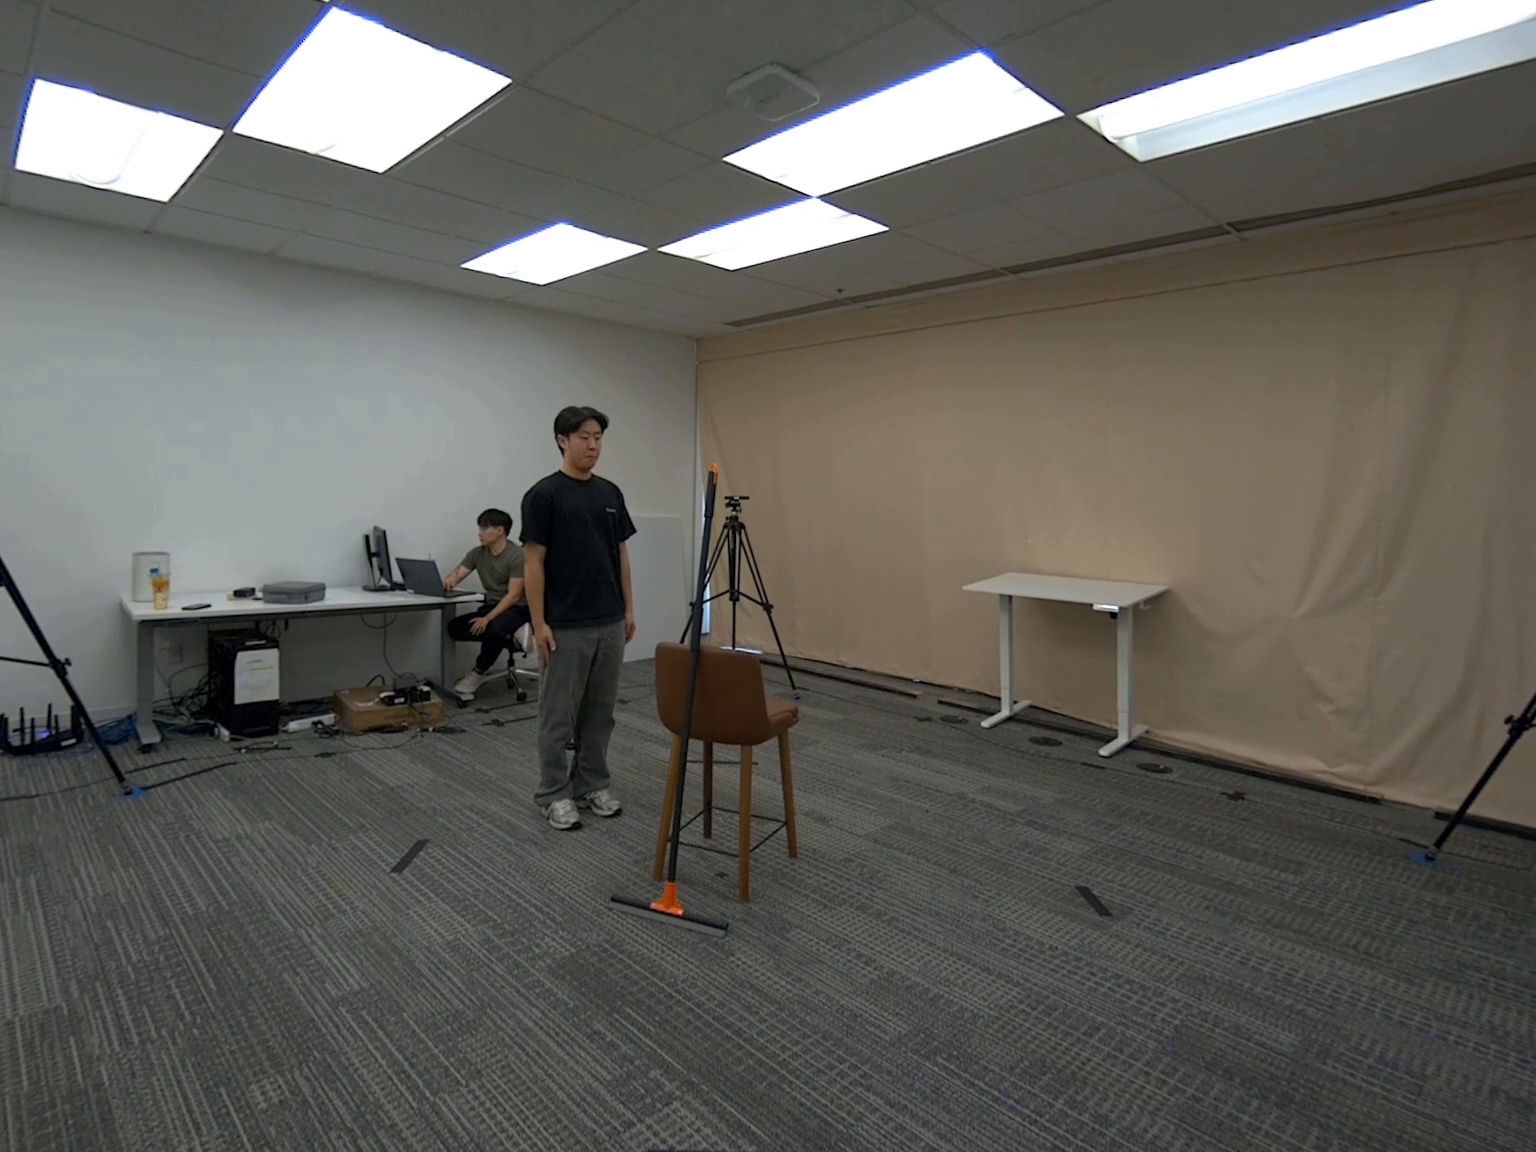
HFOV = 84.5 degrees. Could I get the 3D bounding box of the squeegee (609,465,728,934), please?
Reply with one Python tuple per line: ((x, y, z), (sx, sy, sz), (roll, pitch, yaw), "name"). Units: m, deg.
((-0.261, 0.368, 2.863), (0.445, 1.544, 0.052), (3, -7, 21), "squeegee")
